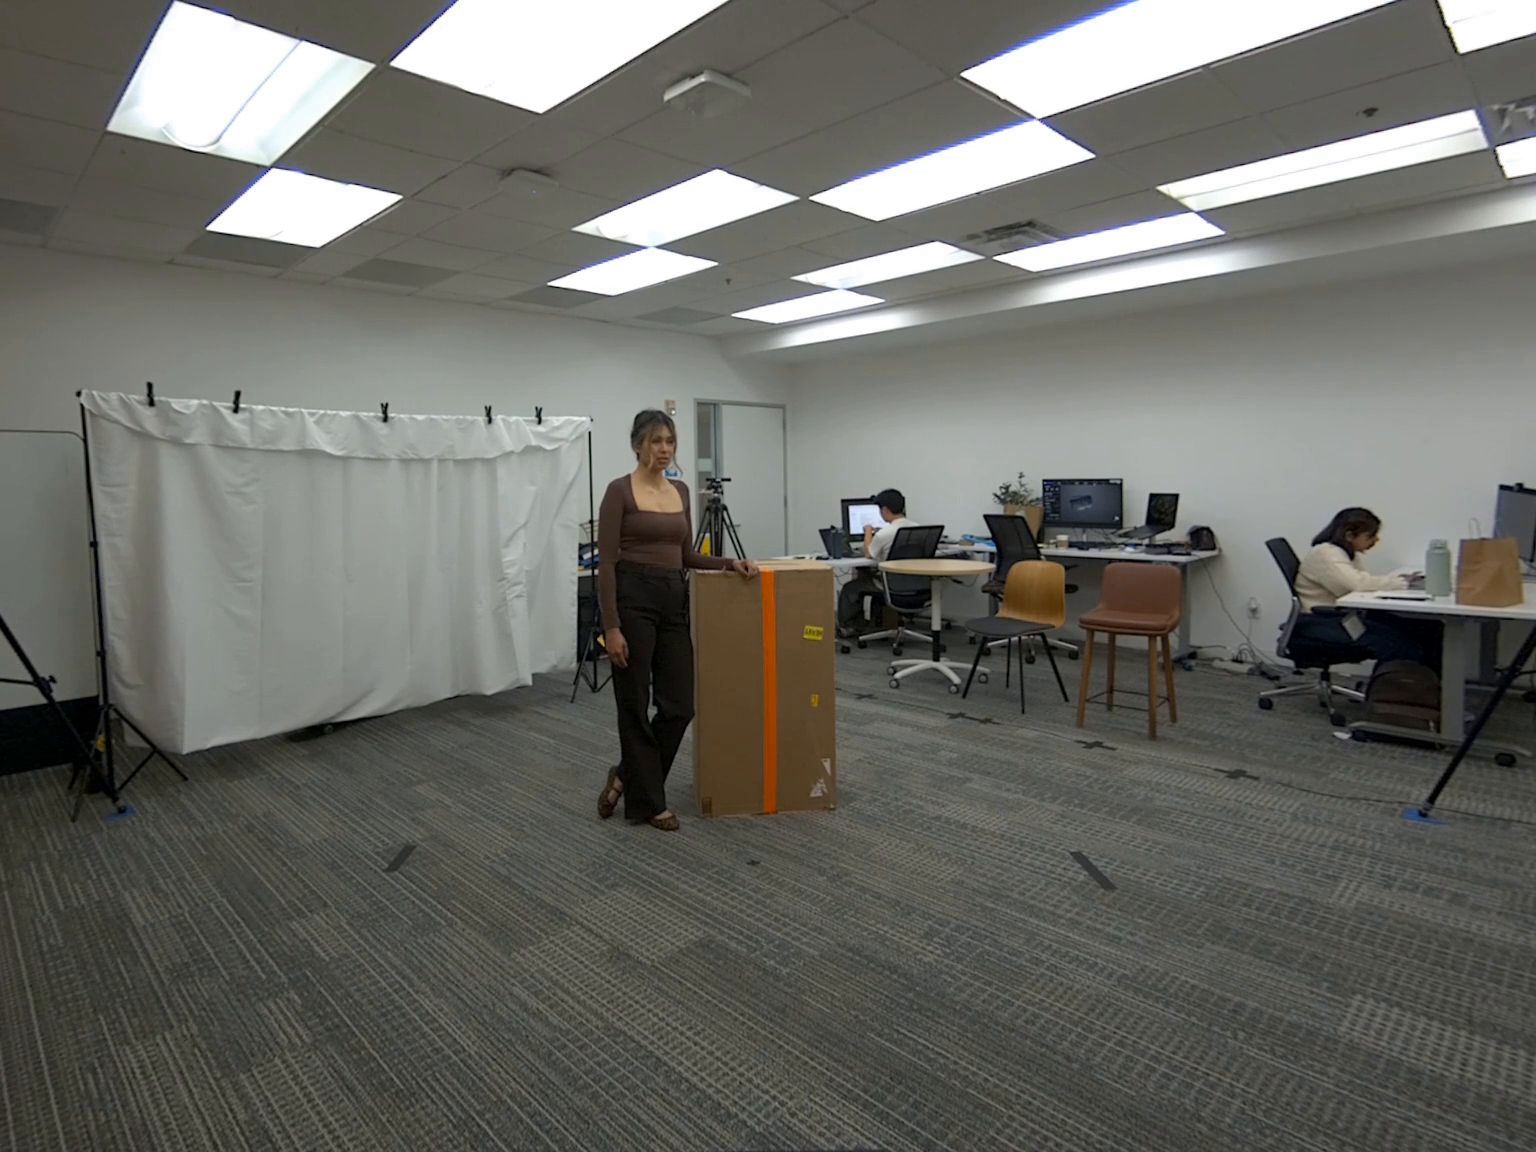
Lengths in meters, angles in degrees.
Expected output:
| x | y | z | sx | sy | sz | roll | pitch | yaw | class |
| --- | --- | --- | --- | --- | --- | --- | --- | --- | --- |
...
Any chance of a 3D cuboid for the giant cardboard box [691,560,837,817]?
| x | y | z | sx | sy | sz | roll | pitch | yaw | class |
| --- | --- | --- | --- | --- | --- | --- | --- | --- | --- |
| -0.030 | 0.462 | 3.740 | 0.579 | 1.023 | 0.452 | -1 | 4 | -8 | giant cardboard box |
